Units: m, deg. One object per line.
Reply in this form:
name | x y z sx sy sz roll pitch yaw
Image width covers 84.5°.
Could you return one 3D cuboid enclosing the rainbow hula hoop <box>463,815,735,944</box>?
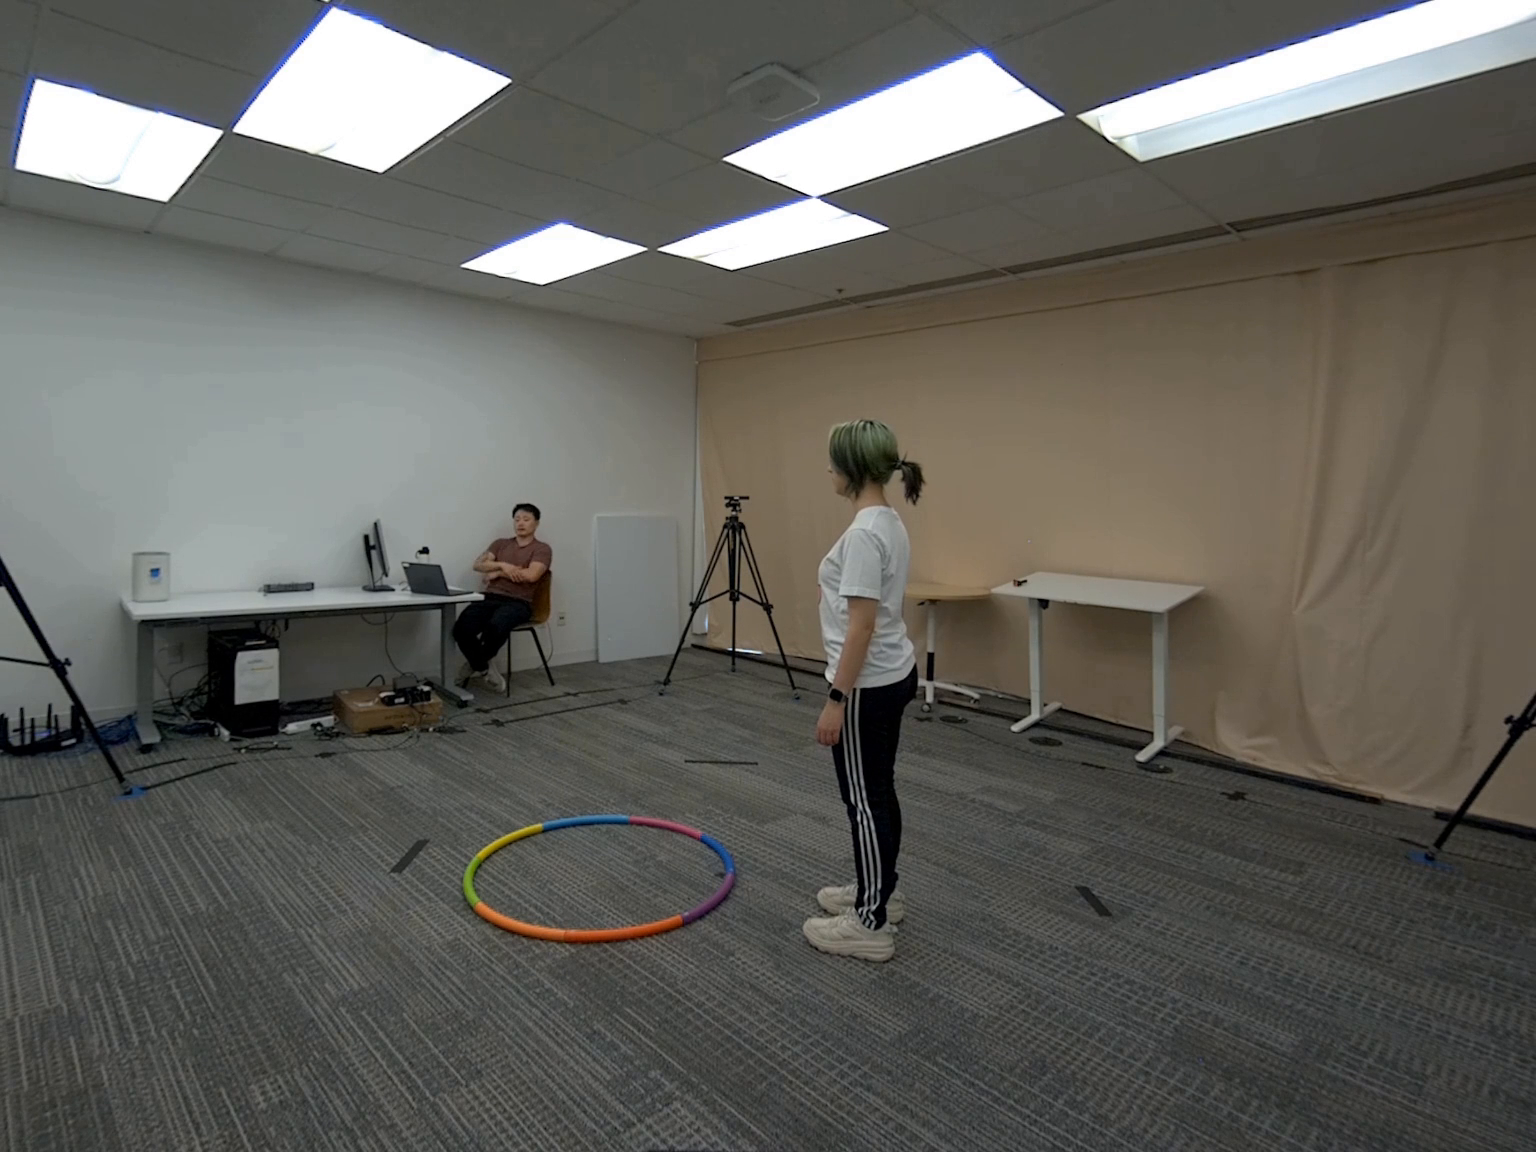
rainbow hula hoop | -0.608 1.064 3.093 0.978 0.035 0.982 2 5 -1
